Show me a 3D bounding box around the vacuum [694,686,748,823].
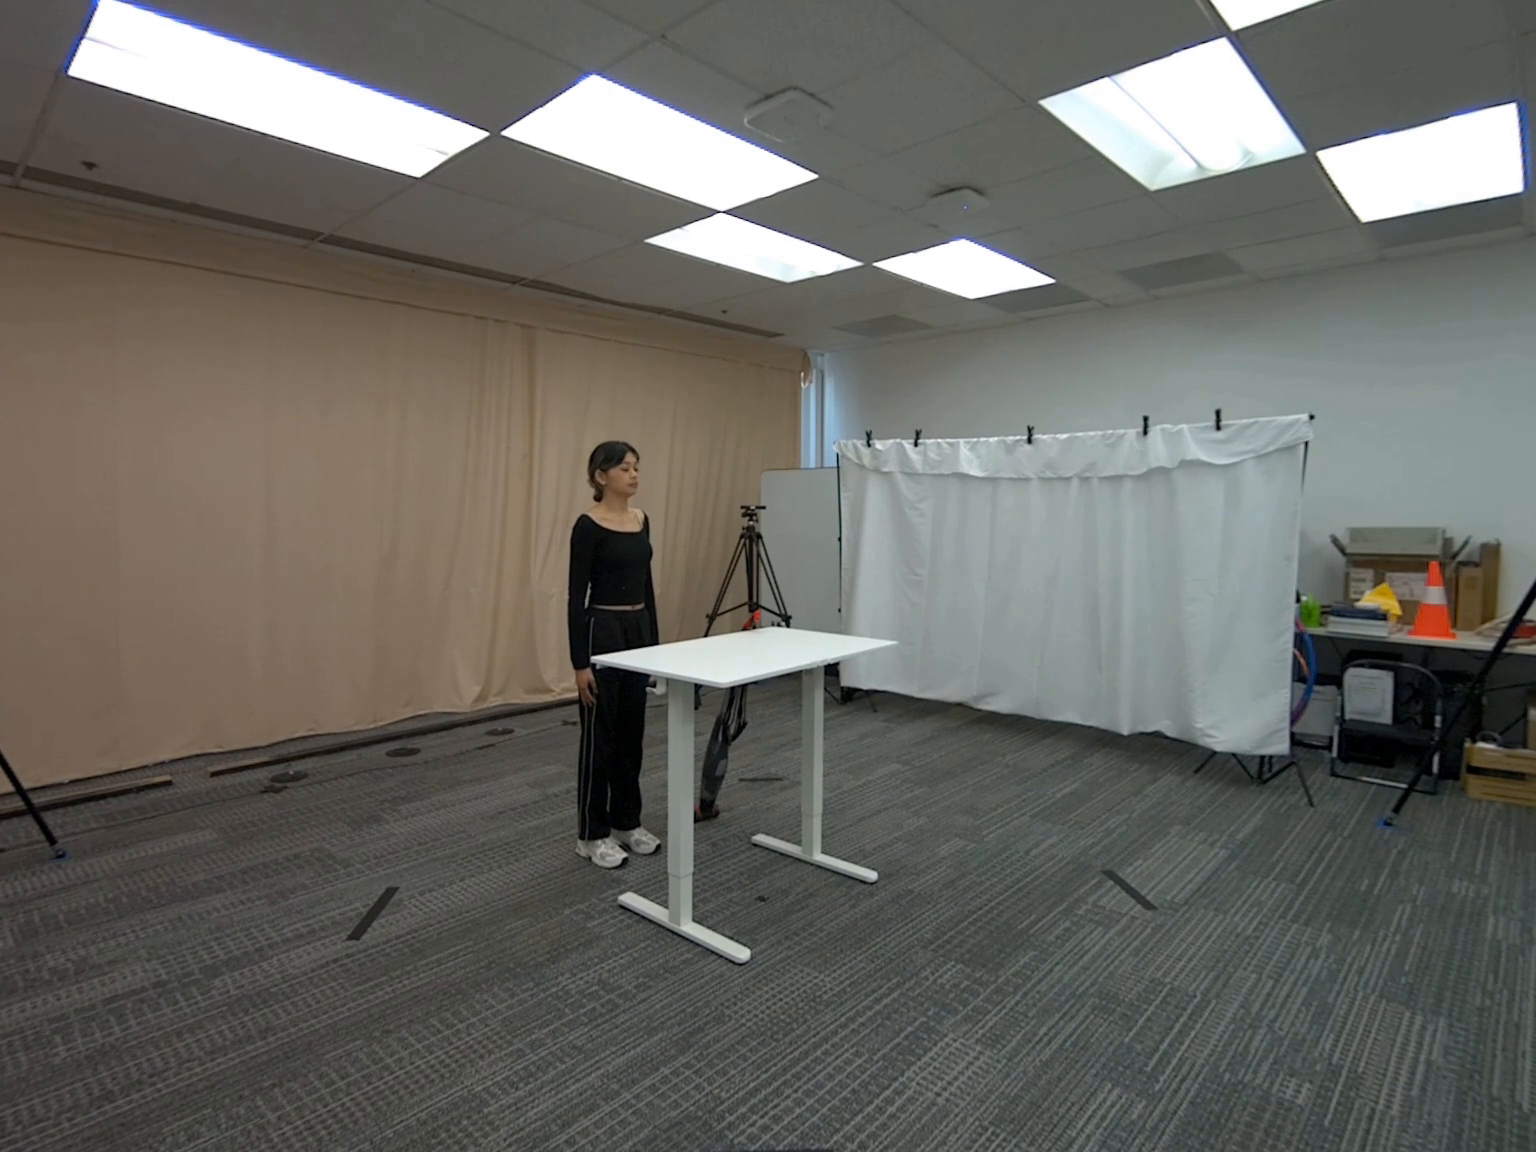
[{"bbox_3d":[-0.168,0.617,3.593,0.245,1.043,0.149,-1,29,-39],"label":"vacuum"}]
